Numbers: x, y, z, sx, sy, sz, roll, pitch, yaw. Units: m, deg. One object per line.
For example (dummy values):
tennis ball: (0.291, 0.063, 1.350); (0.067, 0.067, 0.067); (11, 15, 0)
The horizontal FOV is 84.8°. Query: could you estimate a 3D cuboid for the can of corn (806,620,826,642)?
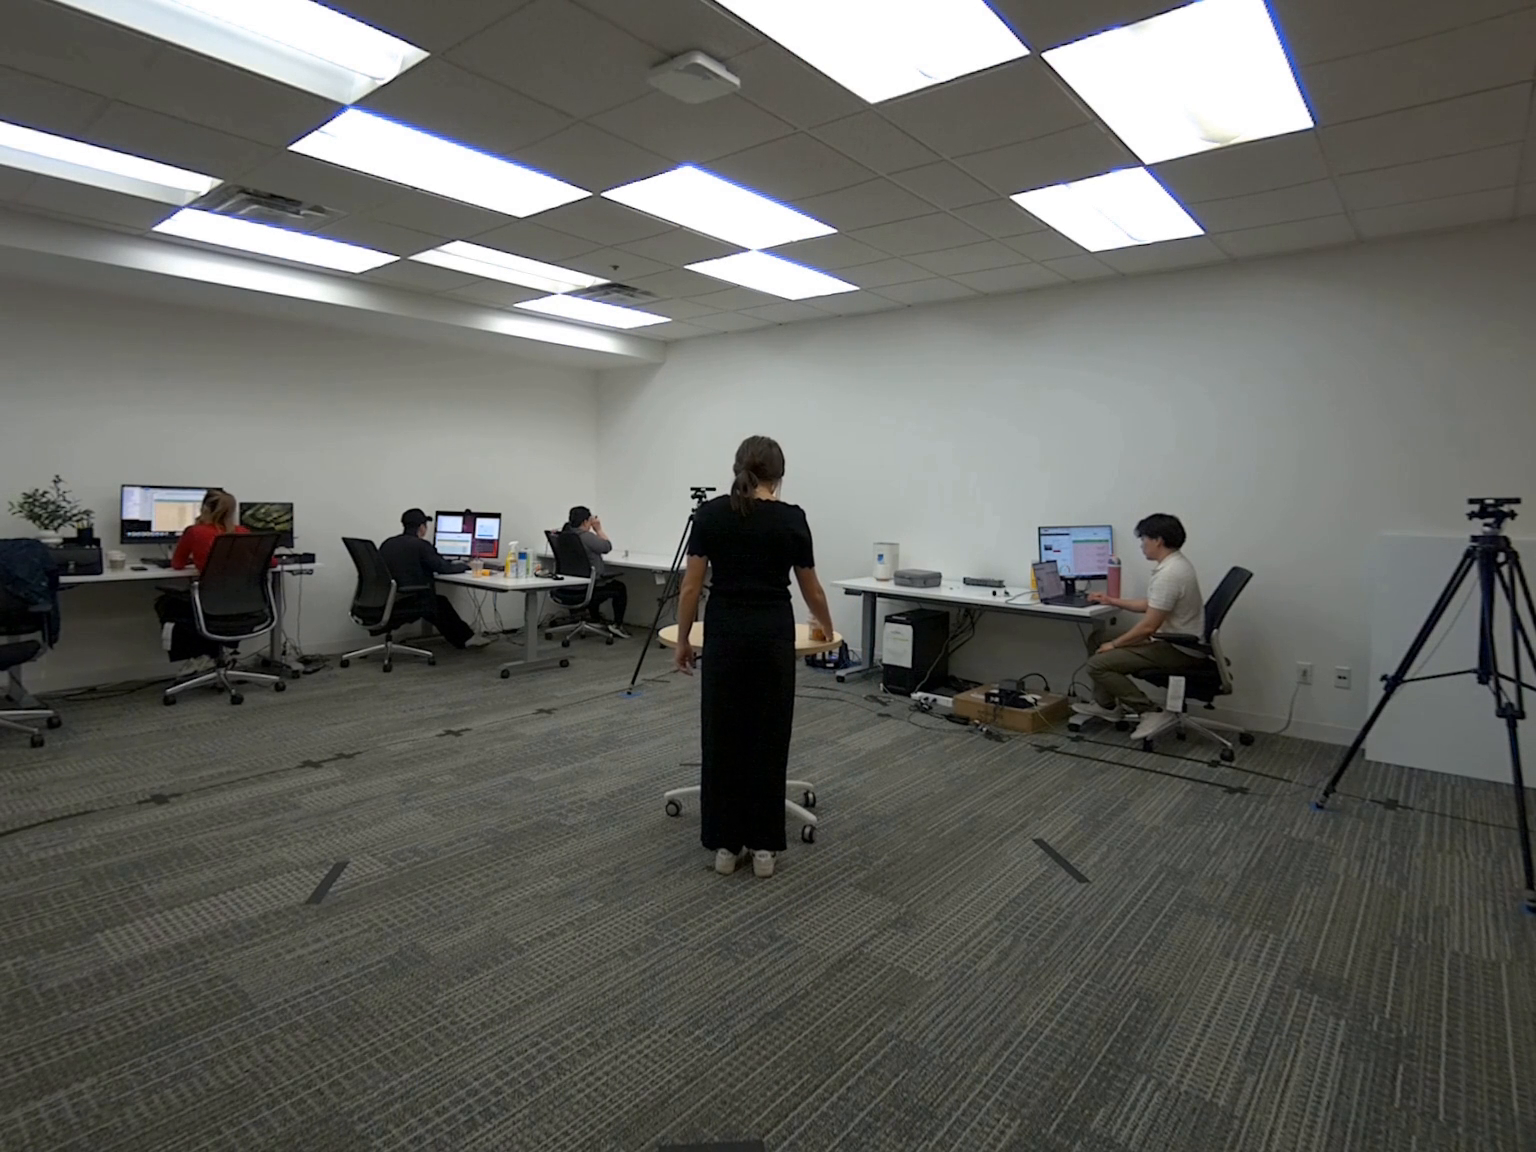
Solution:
can of corn: (0.188, 0.200, 3.456); (0.074, 0.111, 0.074); (2, 2, -2)
